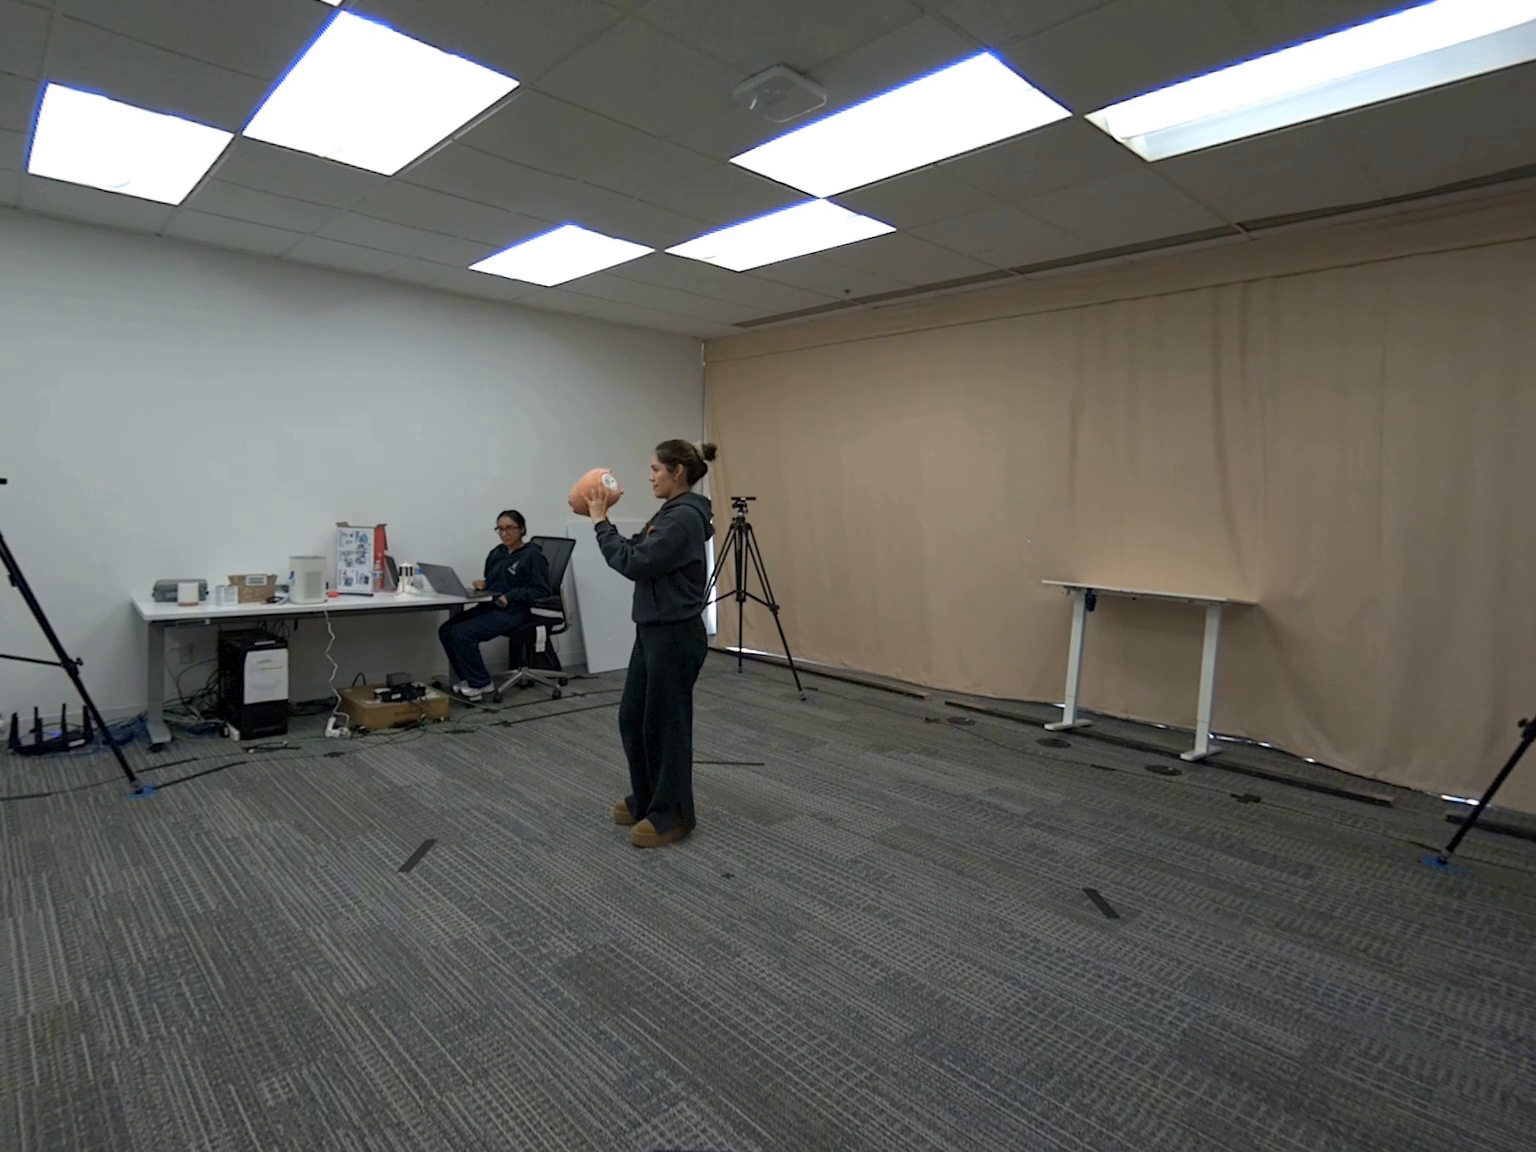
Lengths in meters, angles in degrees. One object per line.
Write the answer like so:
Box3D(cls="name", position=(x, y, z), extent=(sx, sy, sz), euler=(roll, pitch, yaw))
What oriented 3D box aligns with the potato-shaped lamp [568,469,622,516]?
Box3D(cls="potato-shaped lamp", position=(-0.723, -0.332, 3.407), extent=(0.199, 0.164, 0.170), euler=(-31, 4, 33))
